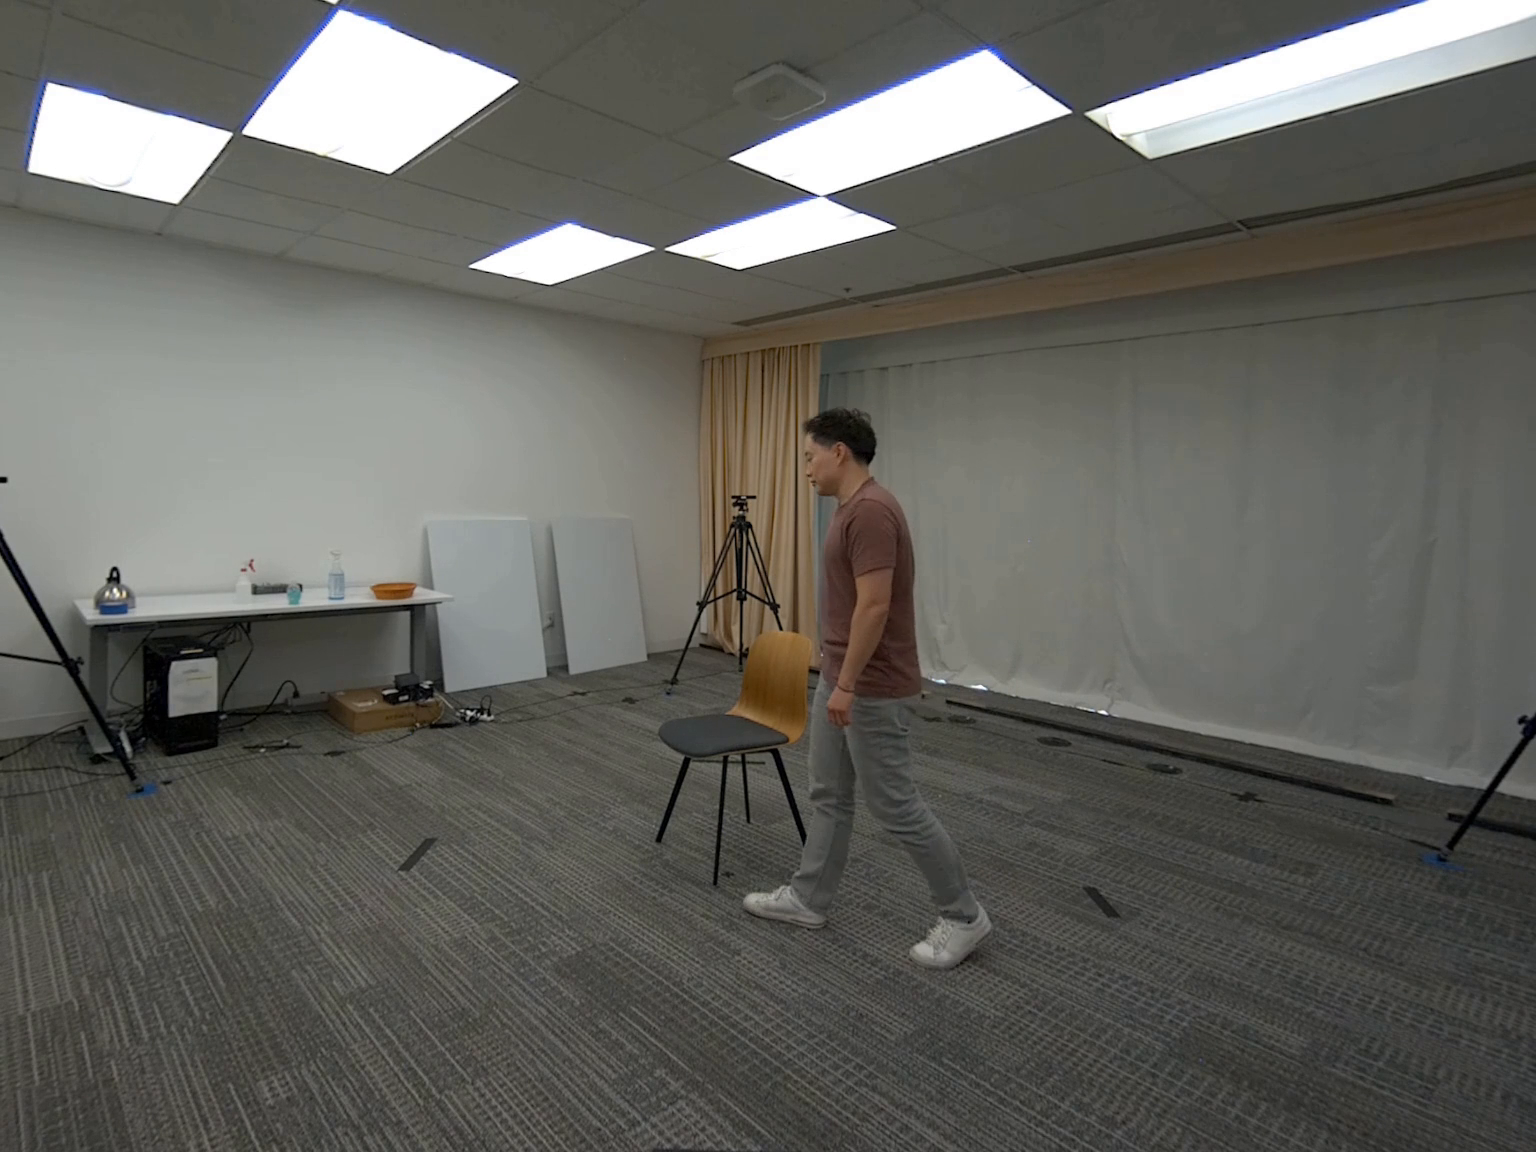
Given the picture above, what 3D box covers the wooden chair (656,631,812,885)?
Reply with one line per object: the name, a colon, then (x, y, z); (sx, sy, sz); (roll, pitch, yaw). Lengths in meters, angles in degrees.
wooden chair: (-0.140, 0.659, 3.281); (0.511, 0.877, 0.489); (4, 1, -35)
